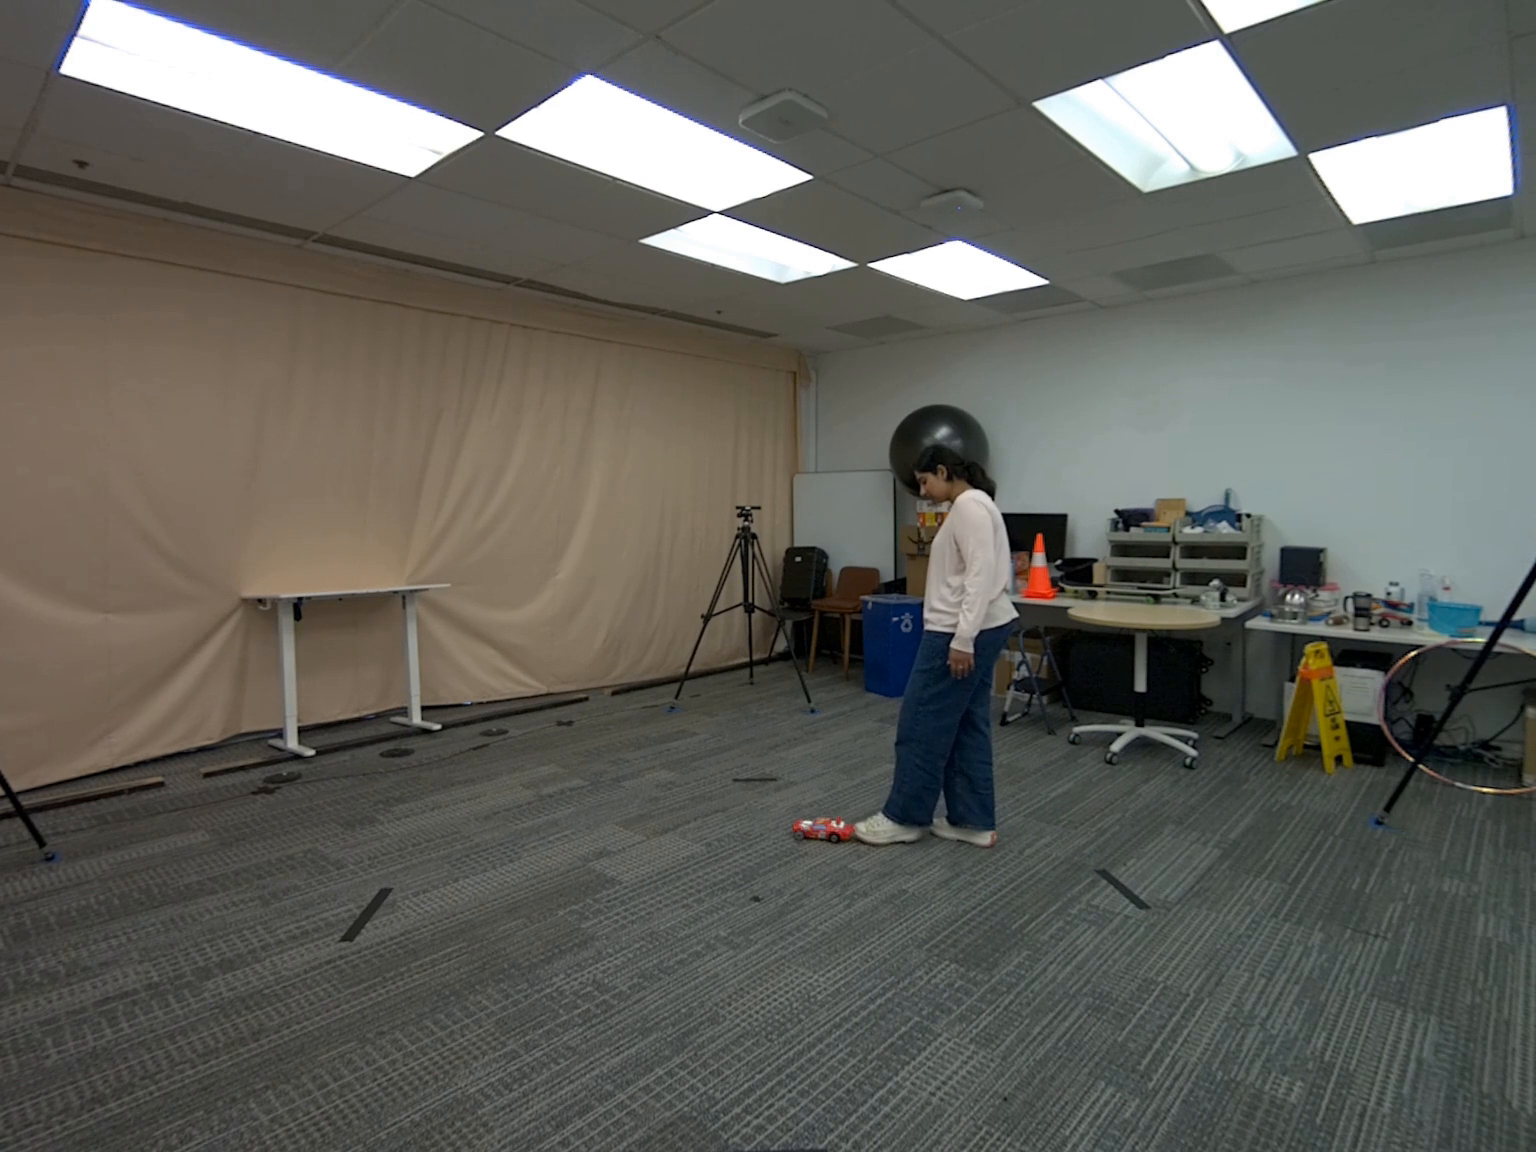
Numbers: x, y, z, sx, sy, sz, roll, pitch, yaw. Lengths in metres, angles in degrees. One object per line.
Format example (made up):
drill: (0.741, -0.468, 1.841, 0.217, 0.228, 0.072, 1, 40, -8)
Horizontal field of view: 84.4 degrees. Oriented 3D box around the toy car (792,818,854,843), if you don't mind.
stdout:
toy car: (0.243, 1.072, 3.538, 0.258, 0.083, 0.128, -10, 1, 15)
